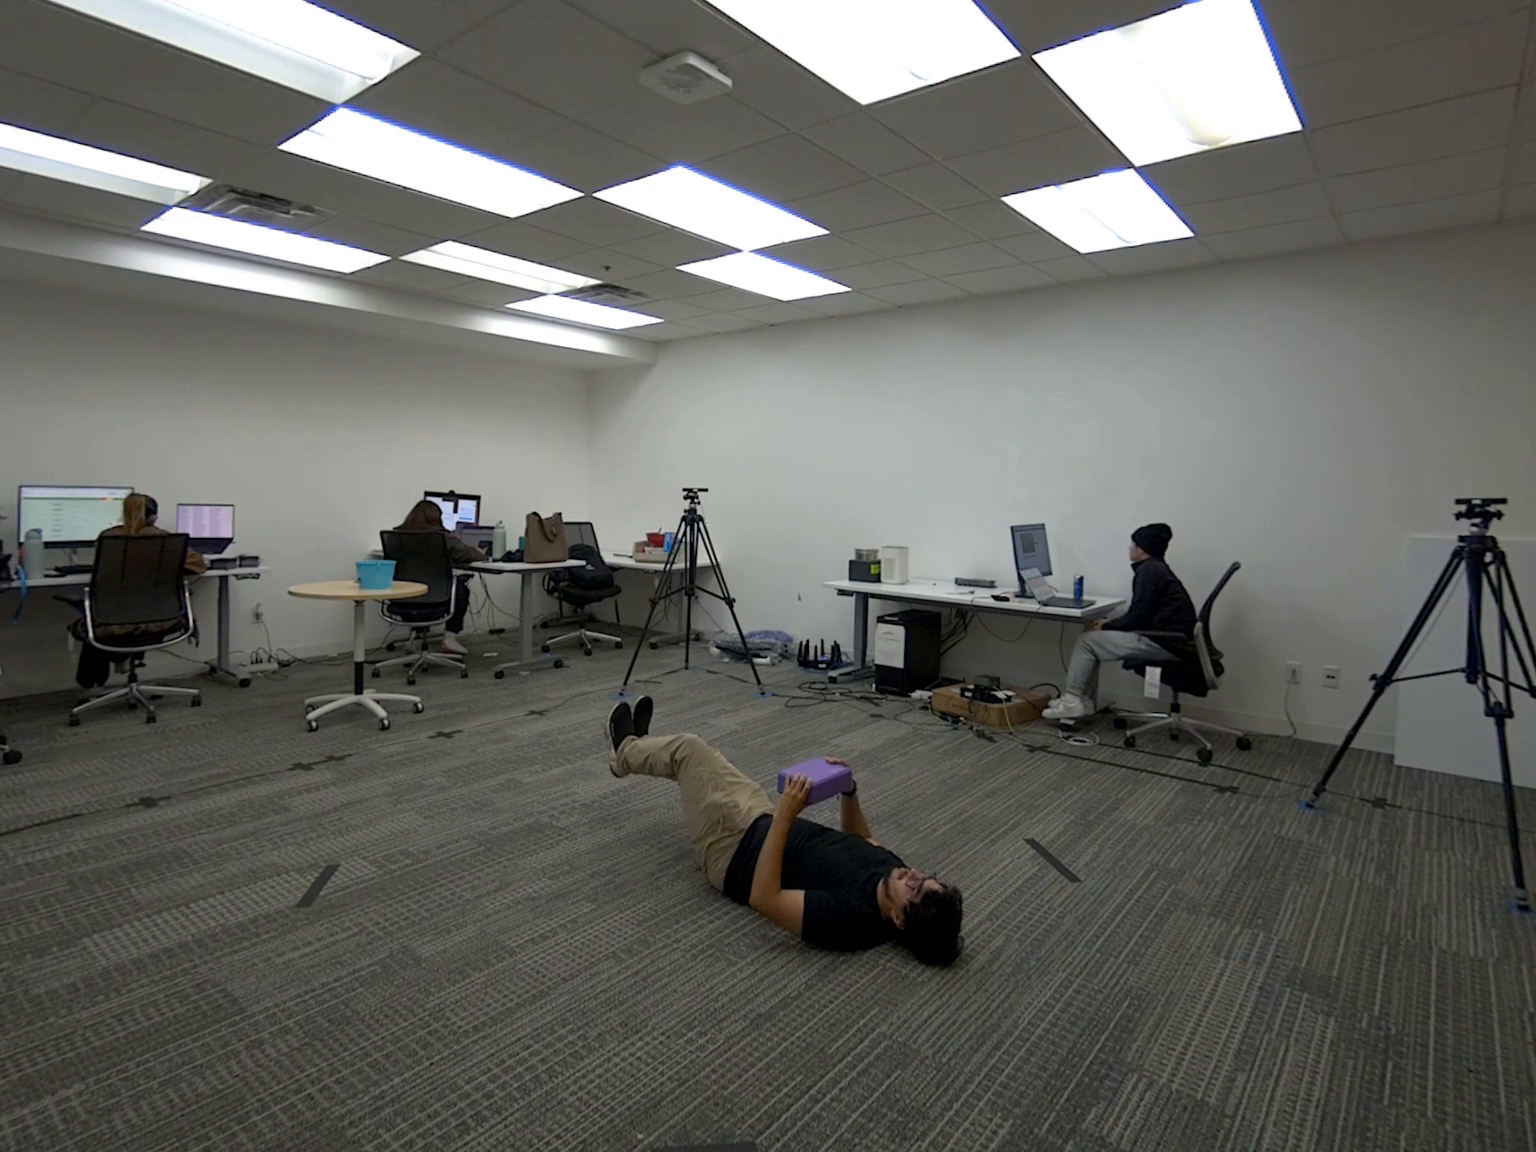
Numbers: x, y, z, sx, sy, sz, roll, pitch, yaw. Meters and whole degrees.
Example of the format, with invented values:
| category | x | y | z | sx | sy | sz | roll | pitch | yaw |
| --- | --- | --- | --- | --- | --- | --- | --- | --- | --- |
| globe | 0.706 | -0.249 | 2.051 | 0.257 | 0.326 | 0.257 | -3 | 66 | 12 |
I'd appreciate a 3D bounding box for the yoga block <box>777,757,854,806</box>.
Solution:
| category | x | y | z | sx | sy | sz | roll | pitch | yaw |
| --- | --- | --- | --- | --- | --- | --- | --- | --- | --- |
| yoga block | 0.146 | 0.679 | 2.835 | 0.154 | 0.076 | 0.223 | 9 | 10 | 40 |
